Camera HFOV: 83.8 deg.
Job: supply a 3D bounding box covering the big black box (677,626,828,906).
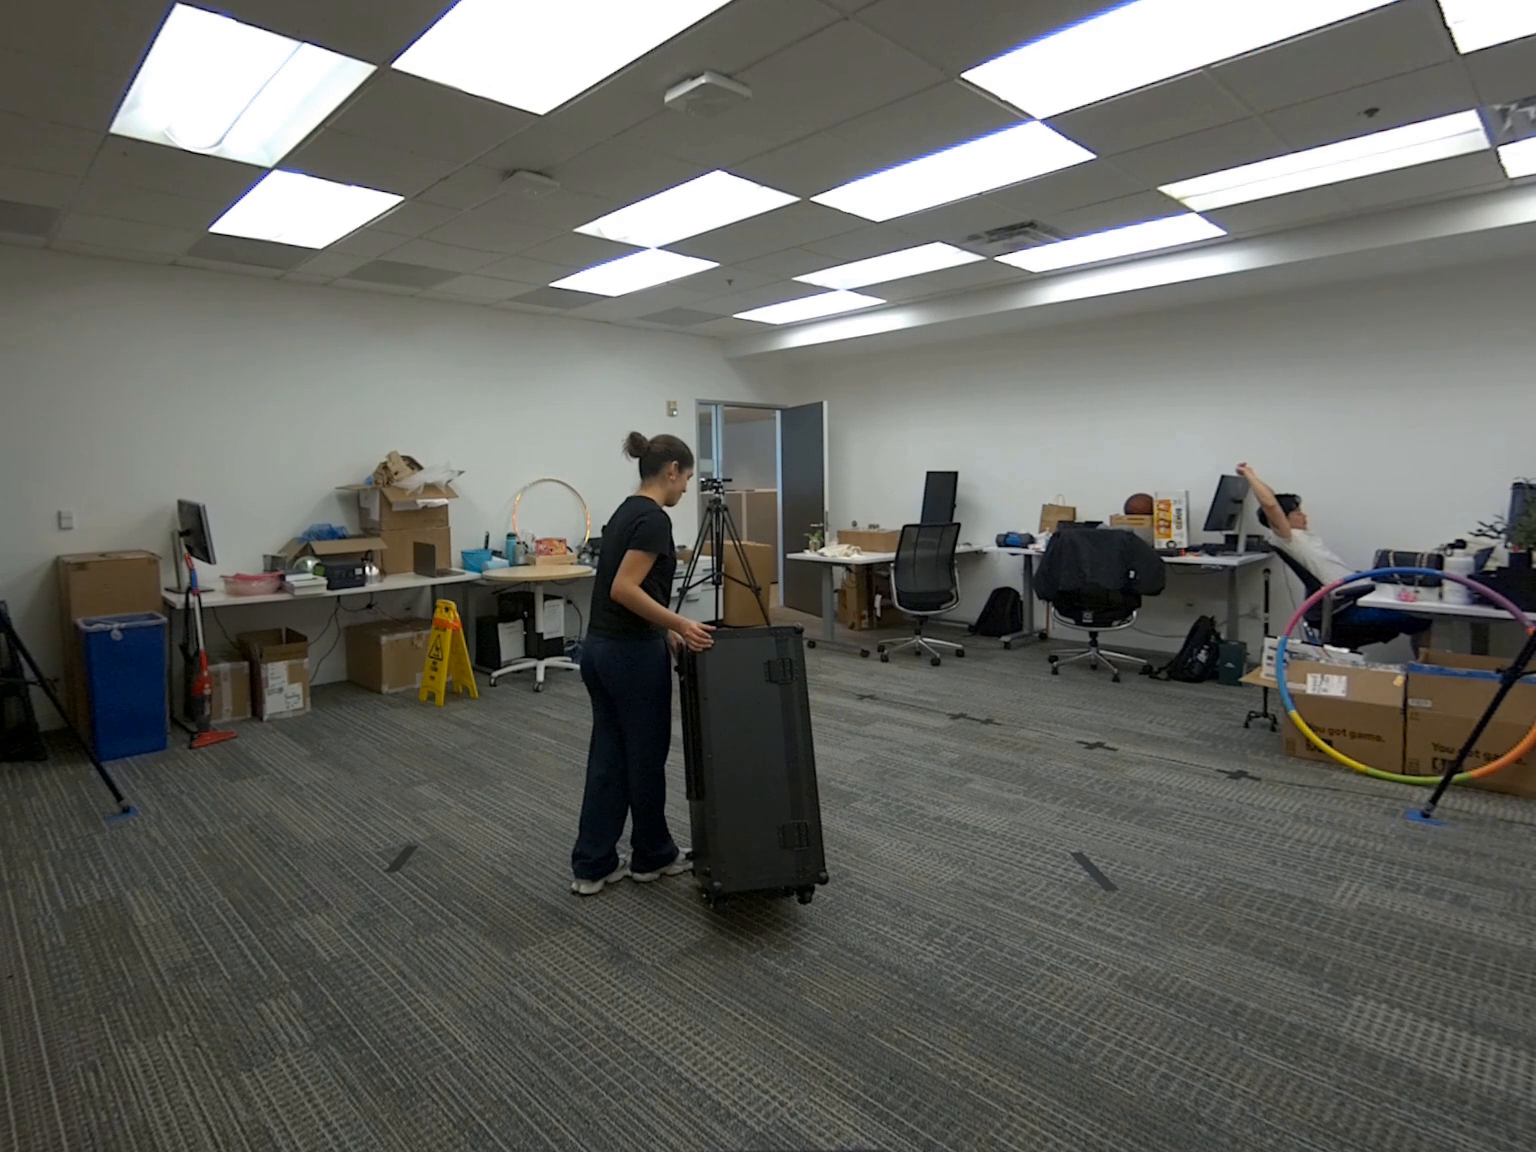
[{"bbox_3d":[-0.079,0.629,2.858,0.392,0.874,0.519,-2,-15,-11],"label":"big black box"}]
